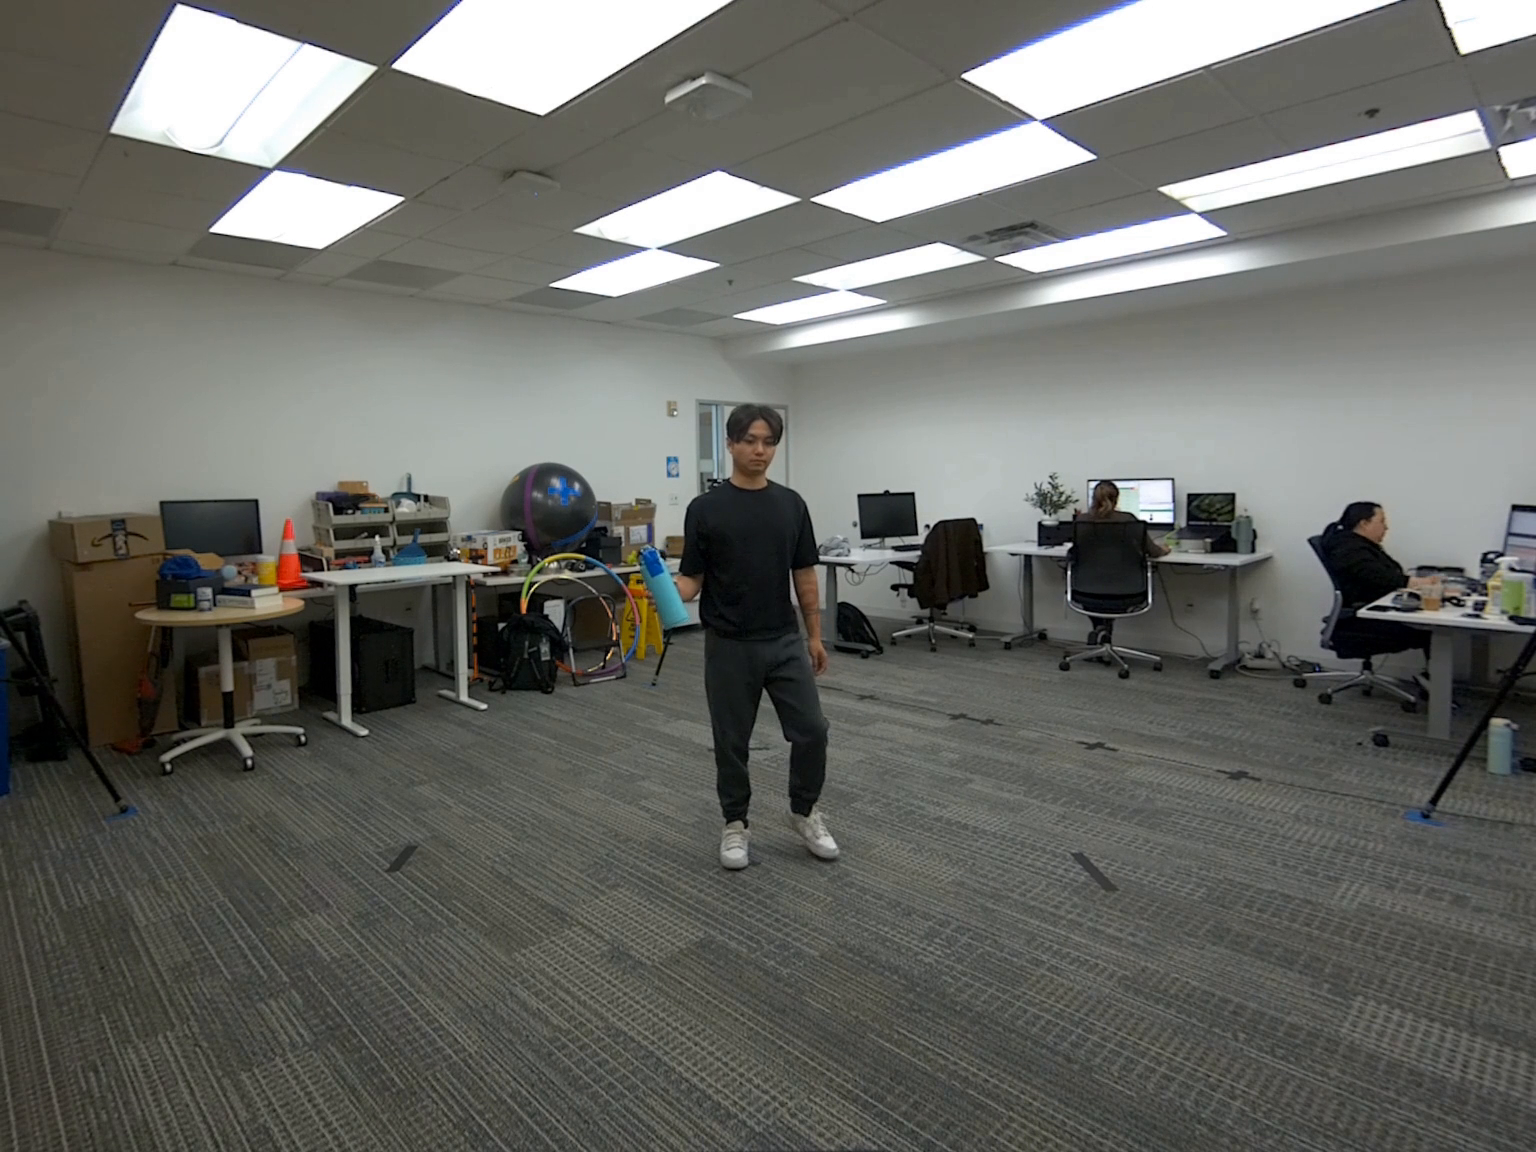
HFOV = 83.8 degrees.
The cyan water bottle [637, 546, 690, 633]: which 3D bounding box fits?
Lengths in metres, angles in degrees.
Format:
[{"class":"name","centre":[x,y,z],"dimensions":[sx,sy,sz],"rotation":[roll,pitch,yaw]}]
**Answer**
[{"class":"cyan water bottle","centre":[-0.347,0.030,2.817],"dimensions":[0.092,0.284,0.092],"rotation":[-22,-2,-2]}]
